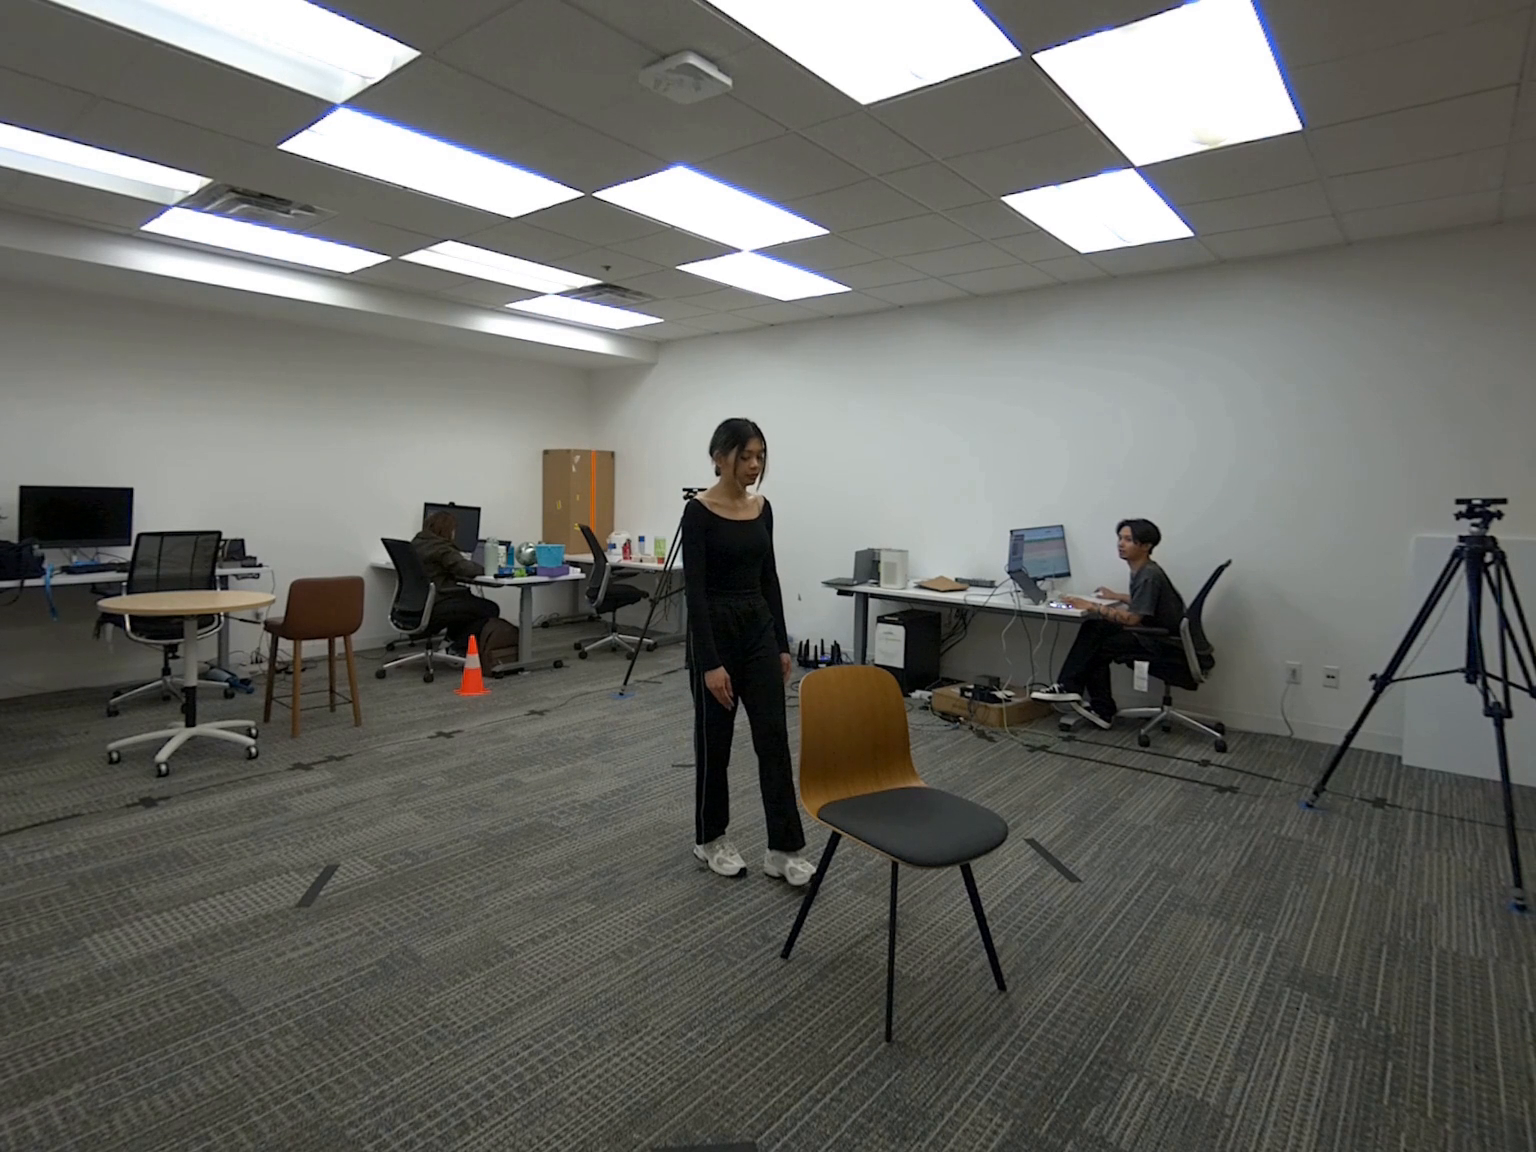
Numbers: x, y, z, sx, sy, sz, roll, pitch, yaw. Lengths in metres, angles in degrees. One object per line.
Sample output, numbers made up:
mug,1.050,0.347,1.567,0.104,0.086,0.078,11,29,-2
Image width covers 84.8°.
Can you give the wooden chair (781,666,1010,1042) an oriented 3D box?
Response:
wooden chair,0.365,0.720,2.424,0.464,0.878,0.538,0,0,-34
